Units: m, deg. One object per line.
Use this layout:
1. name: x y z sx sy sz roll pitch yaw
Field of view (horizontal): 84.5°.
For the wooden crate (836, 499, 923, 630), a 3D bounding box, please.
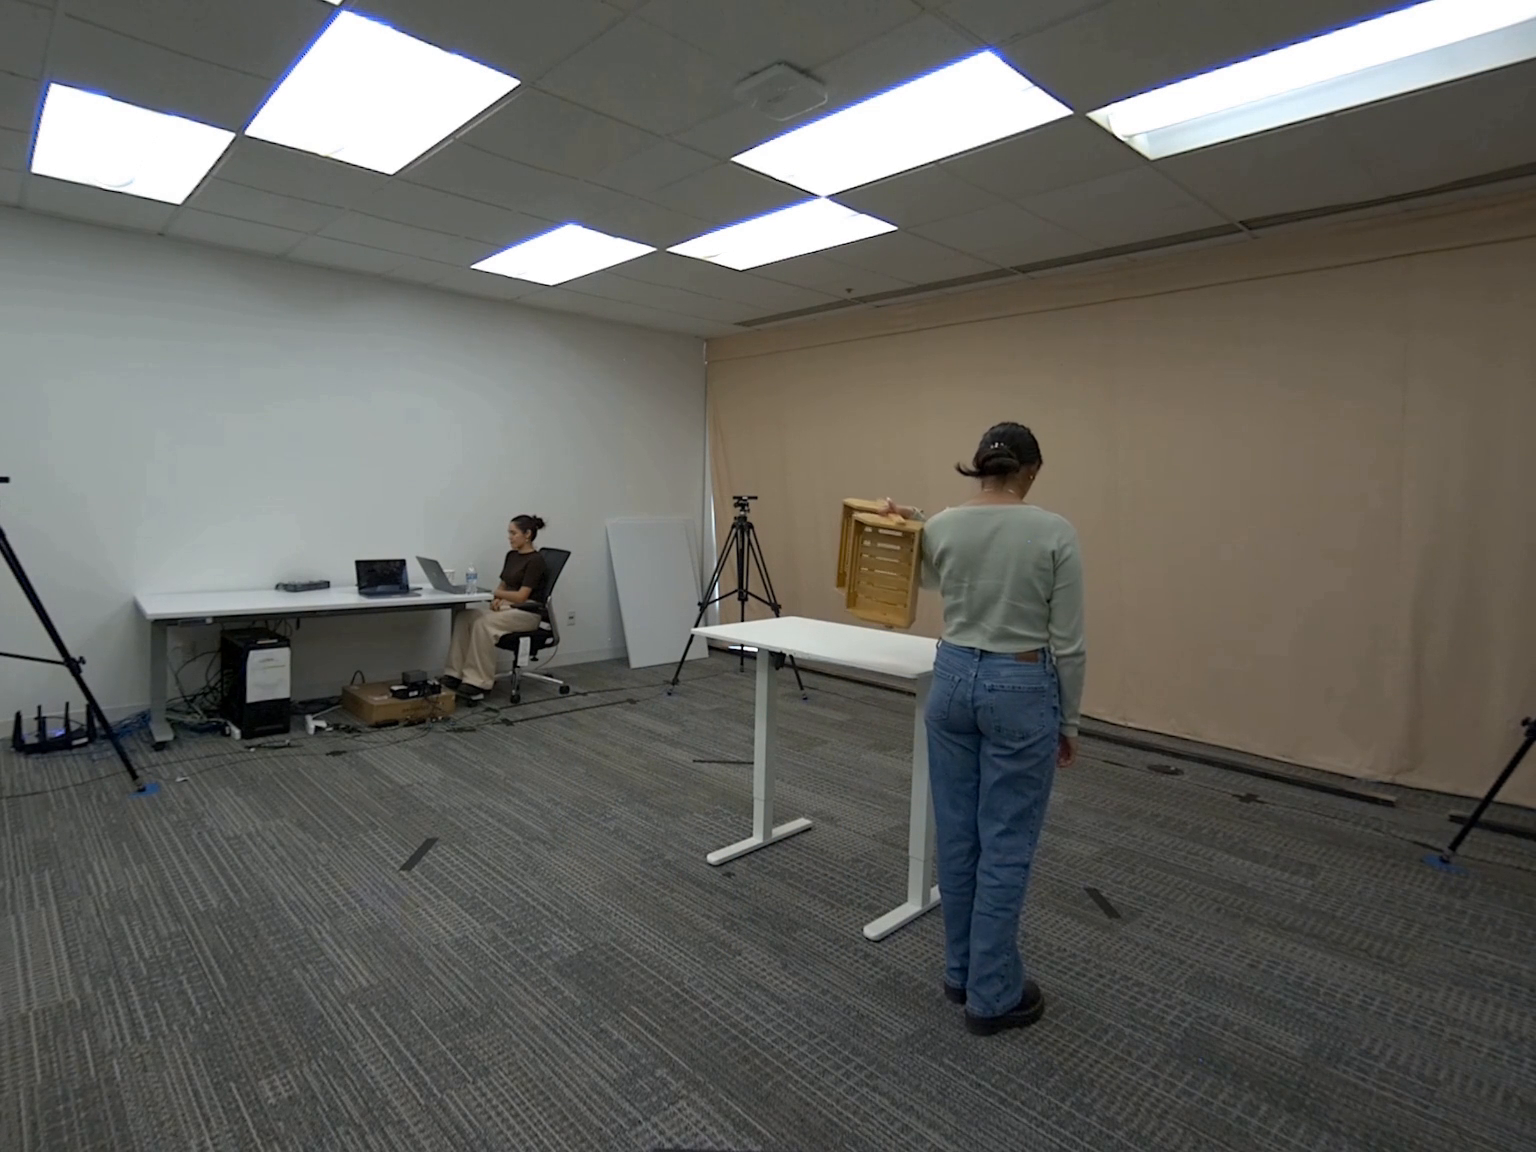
1. wooden crate: 0.321 -0.042 2.551 0.308 0.321 0.271 10 18 23
